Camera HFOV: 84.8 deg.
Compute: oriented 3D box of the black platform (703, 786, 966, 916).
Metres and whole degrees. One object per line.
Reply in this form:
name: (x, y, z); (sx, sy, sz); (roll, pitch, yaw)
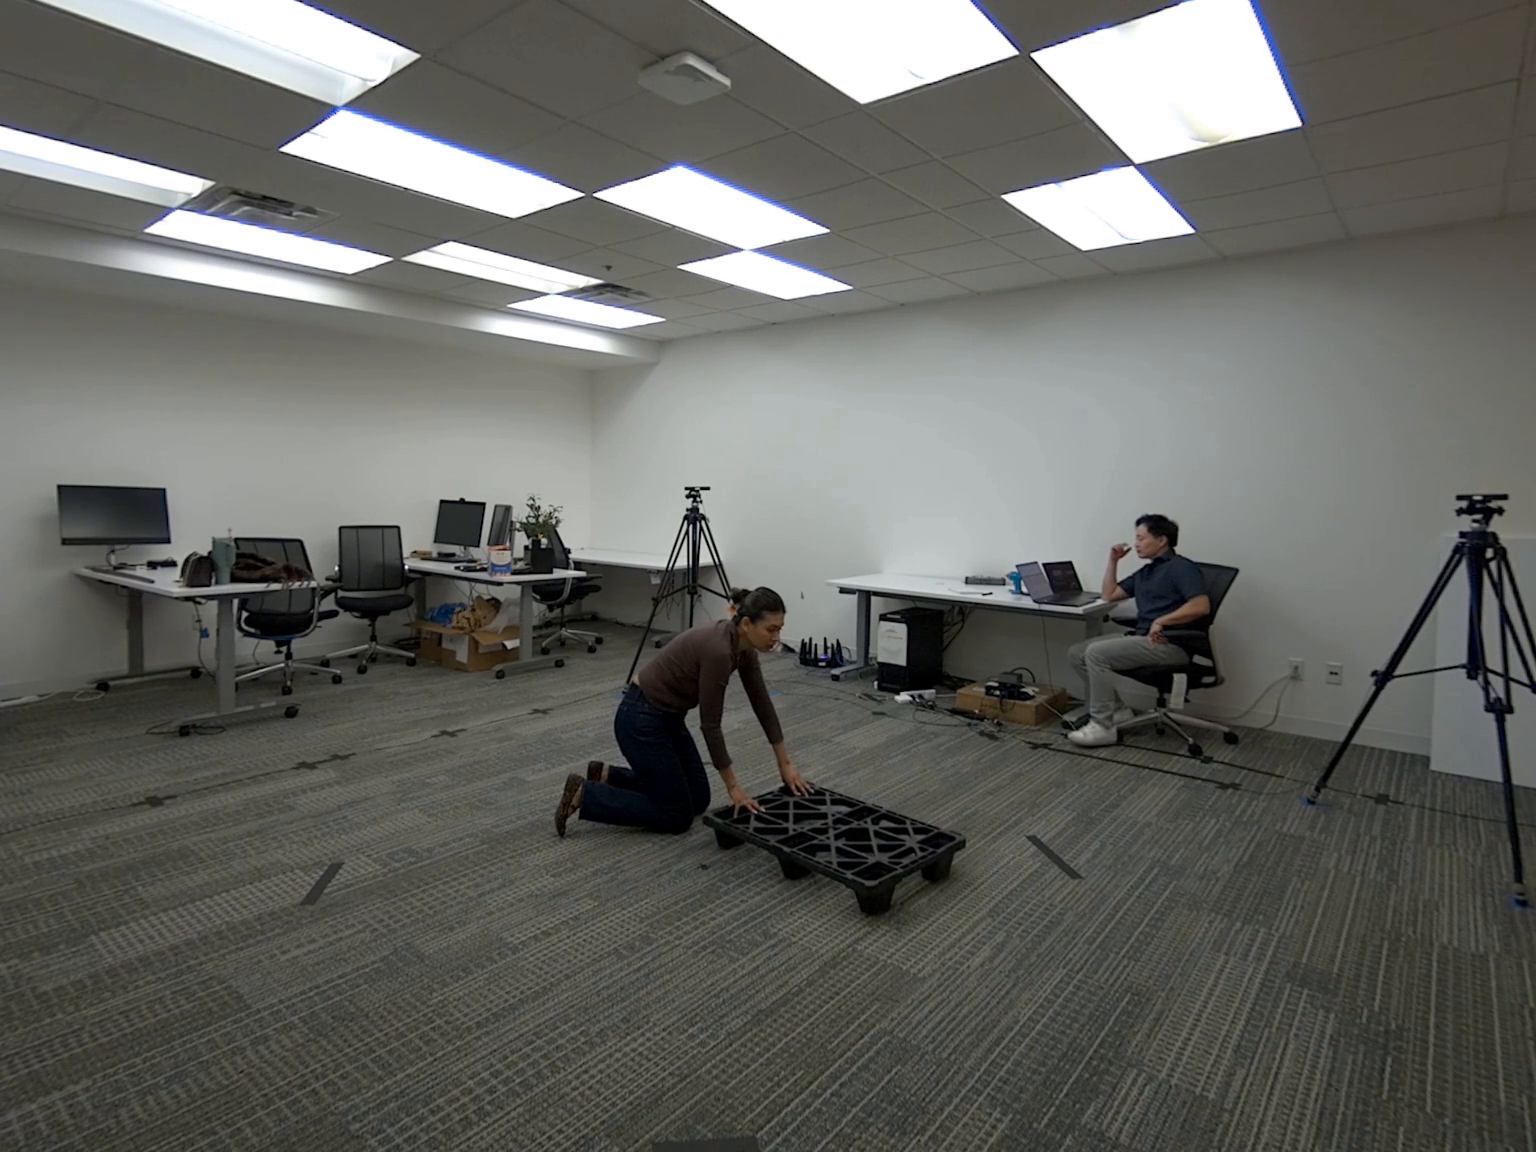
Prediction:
black platform: (0.229, 0.998, 3.198); (0.833, 0.143, 0.587); (7, 8, 44)
